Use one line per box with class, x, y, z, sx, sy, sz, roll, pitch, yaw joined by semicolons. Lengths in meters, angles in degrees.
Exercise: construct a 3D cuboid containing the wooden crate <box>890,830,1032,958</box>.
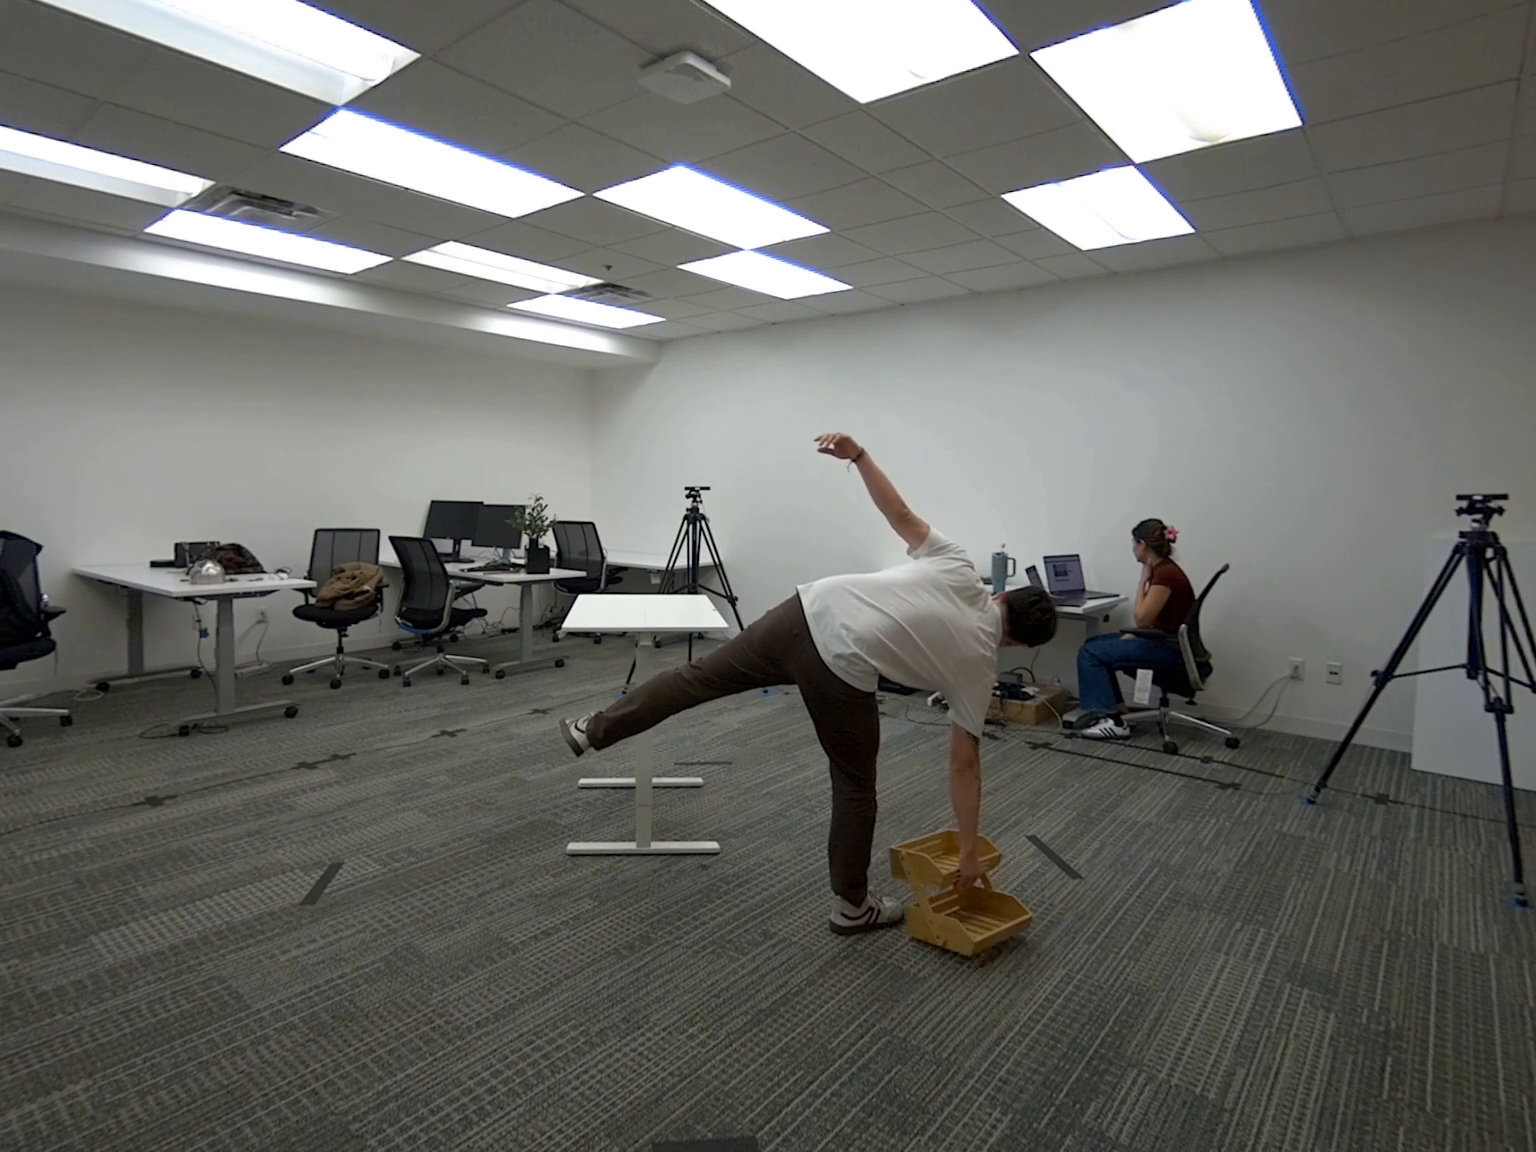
wooden crate;0.608;0.973;2.667;0.314;0.275;0.310;-1;-5;-39
